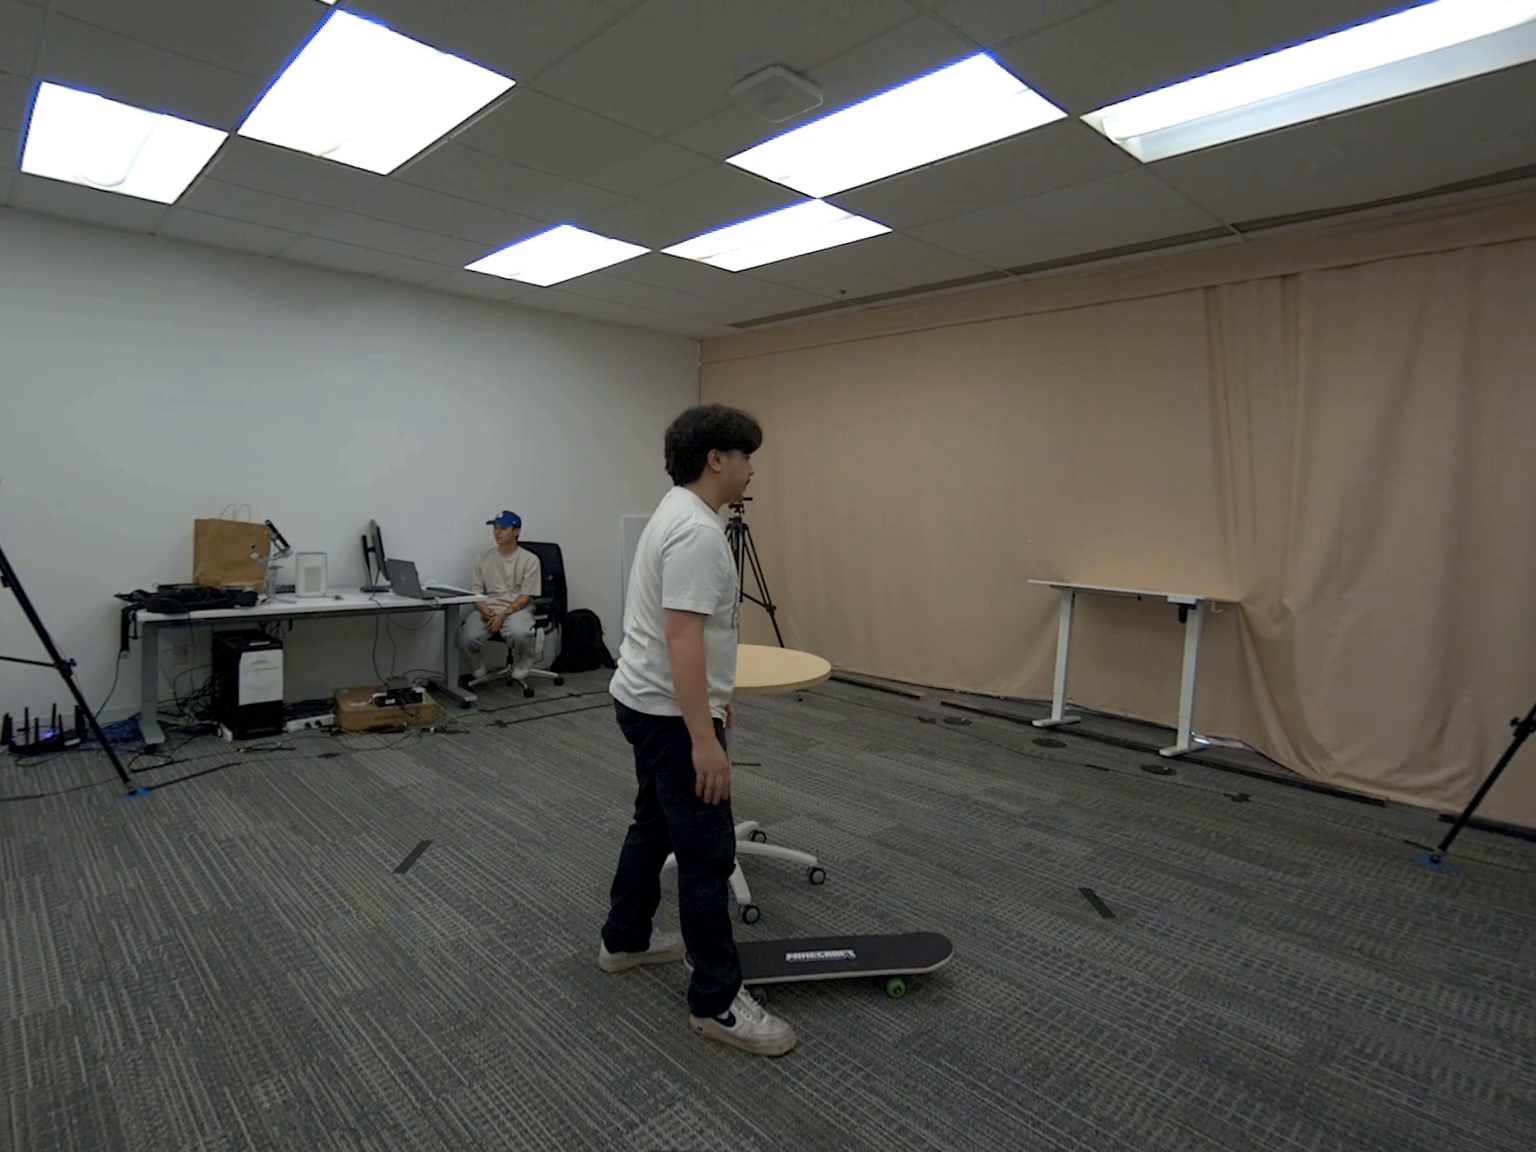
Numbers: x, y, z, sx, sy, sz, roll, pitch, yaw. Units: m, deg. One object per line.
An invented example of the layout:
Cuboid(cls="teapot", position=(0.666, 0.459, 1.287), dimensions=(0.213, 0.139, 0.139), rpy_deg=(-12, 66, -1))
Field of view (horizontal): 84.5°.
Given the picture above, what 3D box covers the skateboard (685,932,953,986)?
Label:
Cuboid(cls="skateboard", position=(0.147, 1.121, 2.417), dimensions=(0.780, 0.110, 0.195), rpy_deg=(0, 5, -8))
